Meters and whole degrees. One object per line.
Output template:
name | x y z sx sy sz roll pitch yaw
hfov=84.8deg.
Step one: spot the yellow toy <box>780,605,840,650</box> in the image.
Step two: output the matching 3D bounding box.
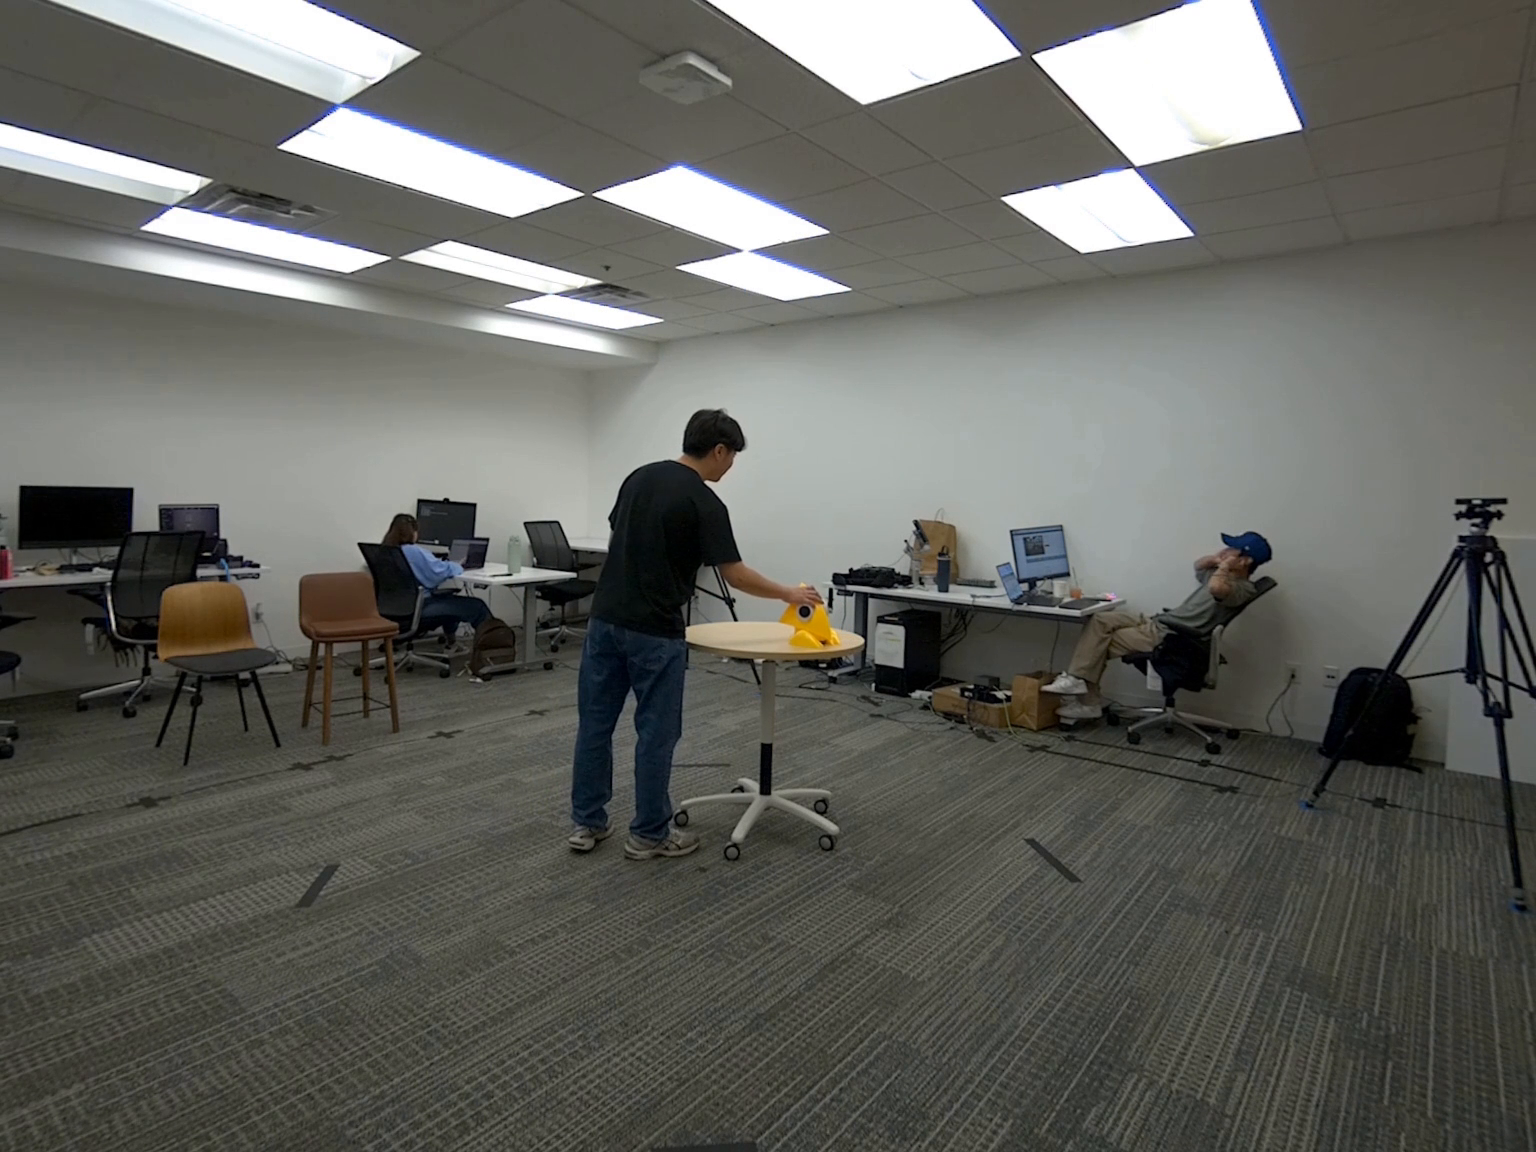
yellow toy | 0.169 0.148 3.325 0.198 0.230 0.199 -2 4 -45
